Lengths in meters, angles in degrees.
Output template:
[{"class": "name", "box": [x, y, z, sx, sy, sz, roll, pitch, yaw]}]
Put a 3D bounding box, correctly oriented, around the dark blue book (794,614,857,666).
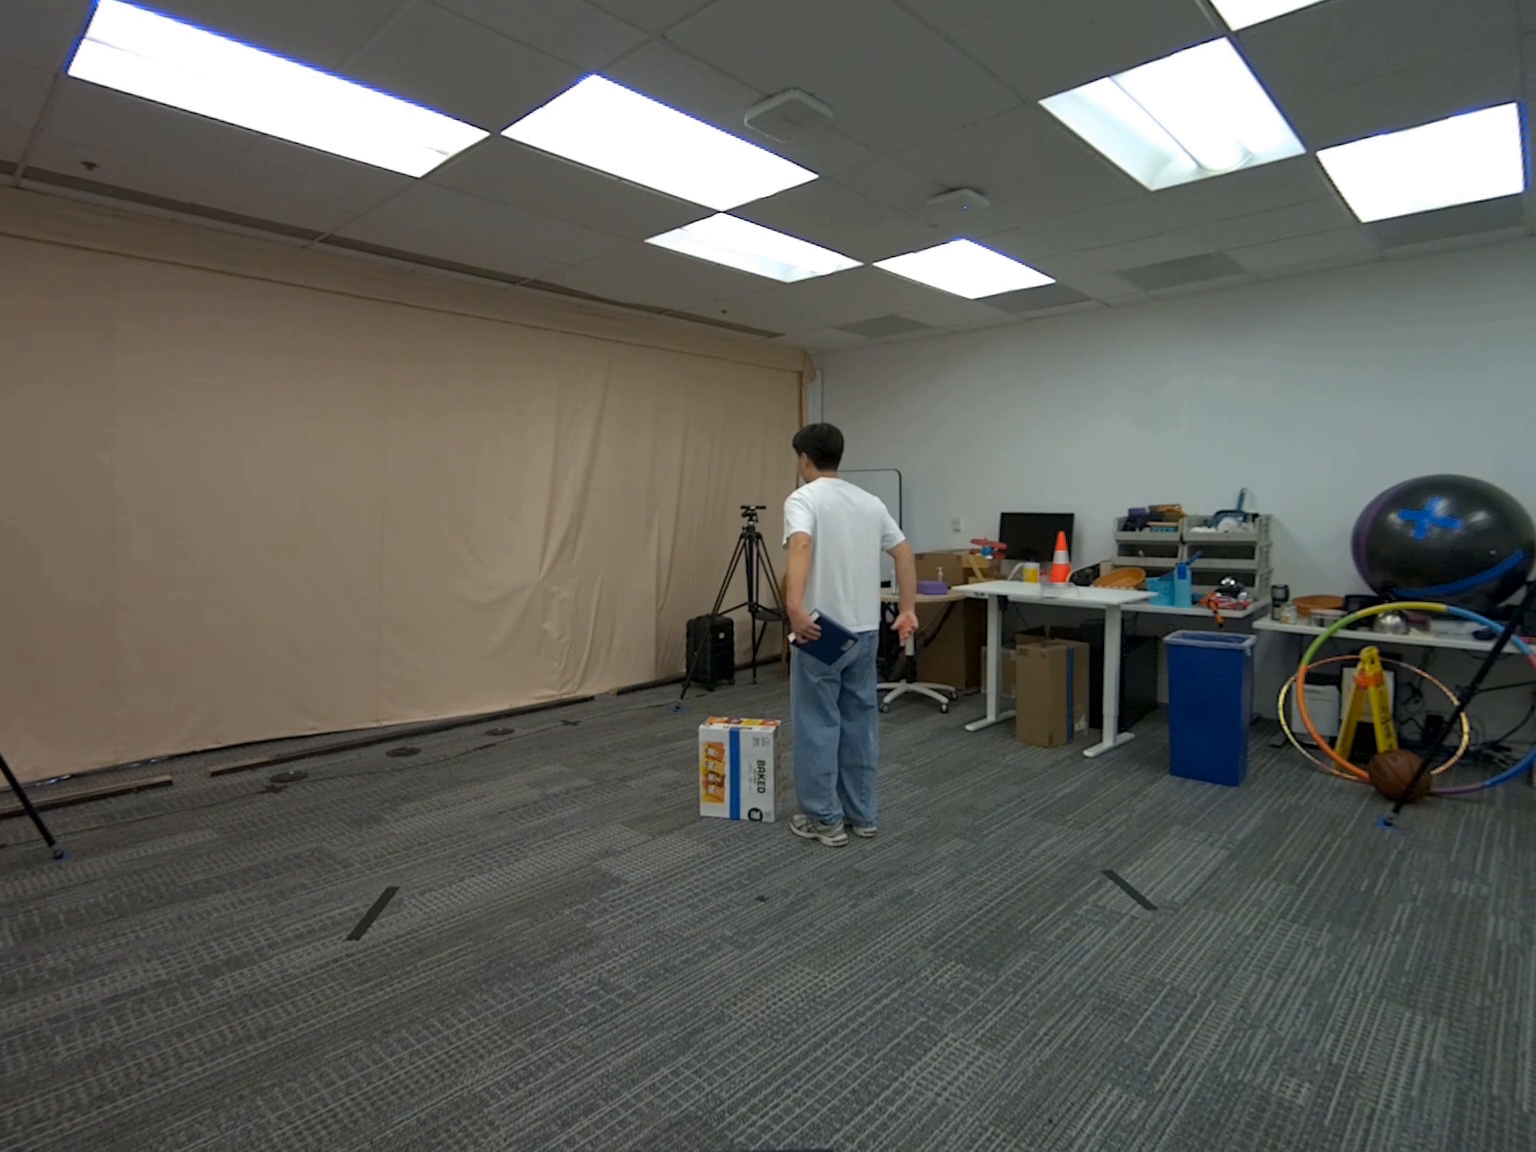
[{"class": "dark blue book", "box": [0.211, 0.241, 3.243, 0.237, 0.164, 0.046, 32, 24, -34]}]
